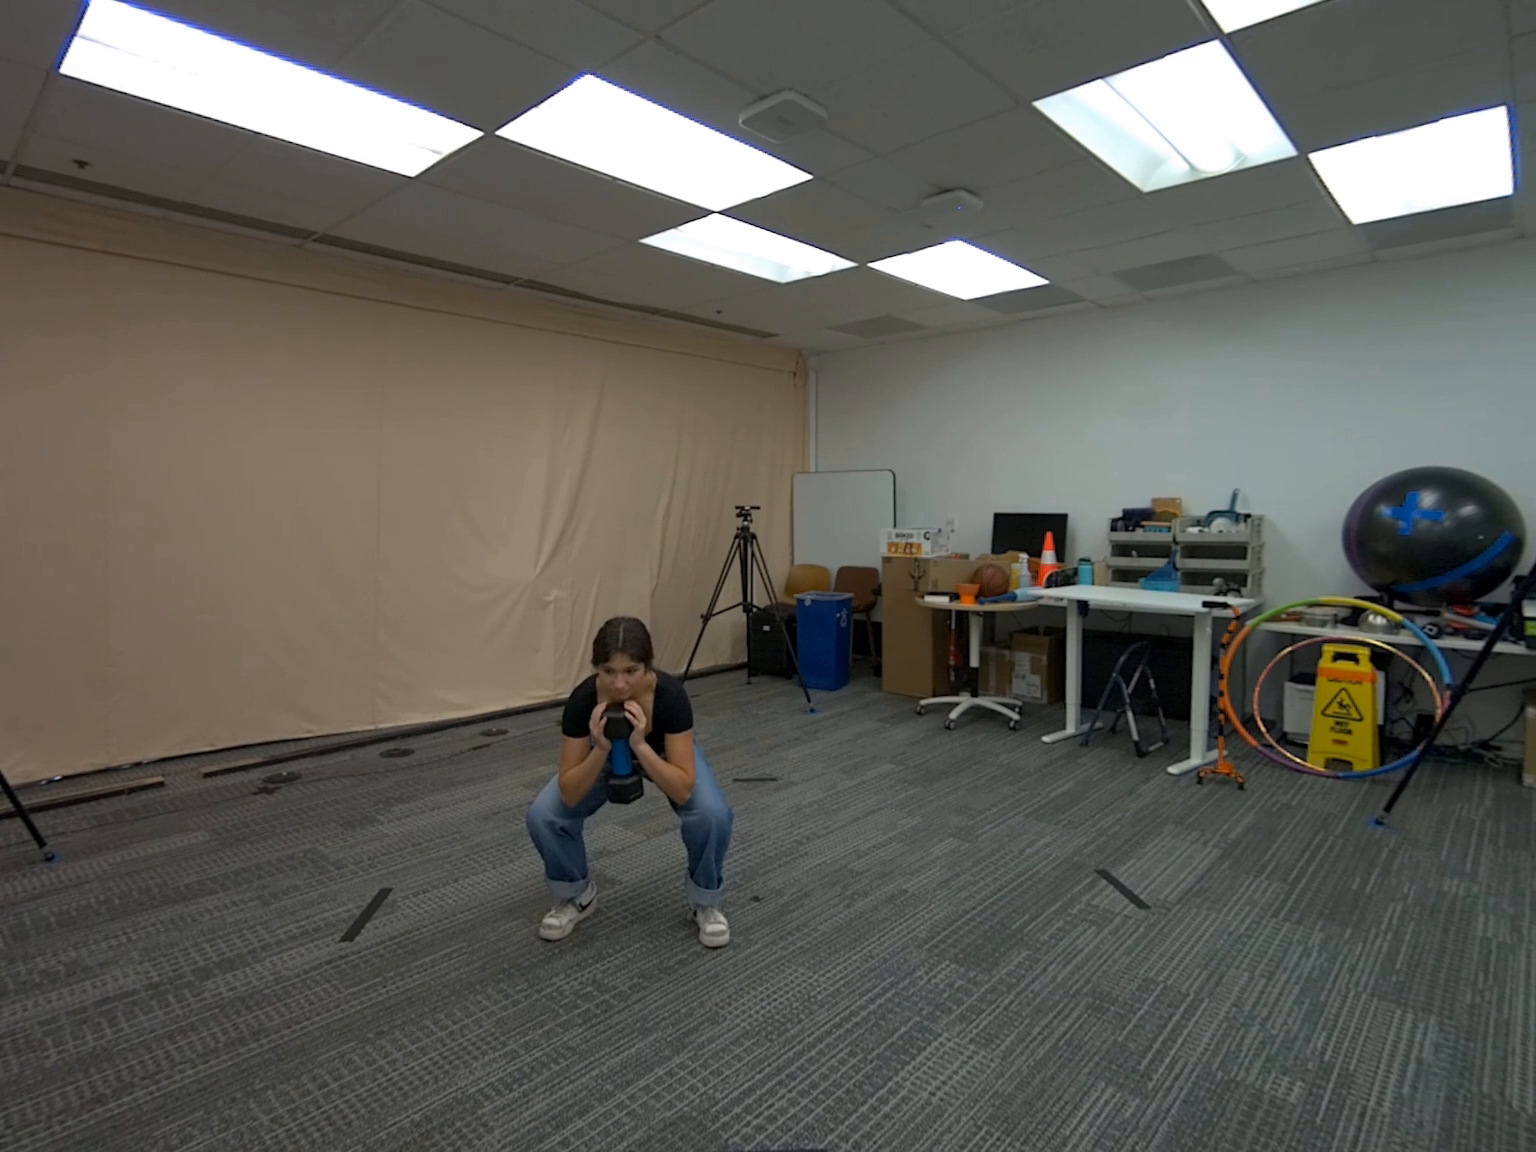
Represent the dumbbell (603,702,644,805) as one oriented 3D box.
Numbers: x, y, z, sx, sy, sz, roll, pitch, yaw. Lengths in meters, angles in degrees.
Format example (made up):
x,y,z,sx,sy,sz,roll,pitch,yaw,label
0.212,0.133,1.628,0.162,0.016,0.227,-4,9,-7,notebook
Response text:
x,y,z,sx,sy,sz,roll,pitch,yaw,label
-0.439,0.530,2.560,0.112,0.291,0.120,10,16,41,dumbbell
